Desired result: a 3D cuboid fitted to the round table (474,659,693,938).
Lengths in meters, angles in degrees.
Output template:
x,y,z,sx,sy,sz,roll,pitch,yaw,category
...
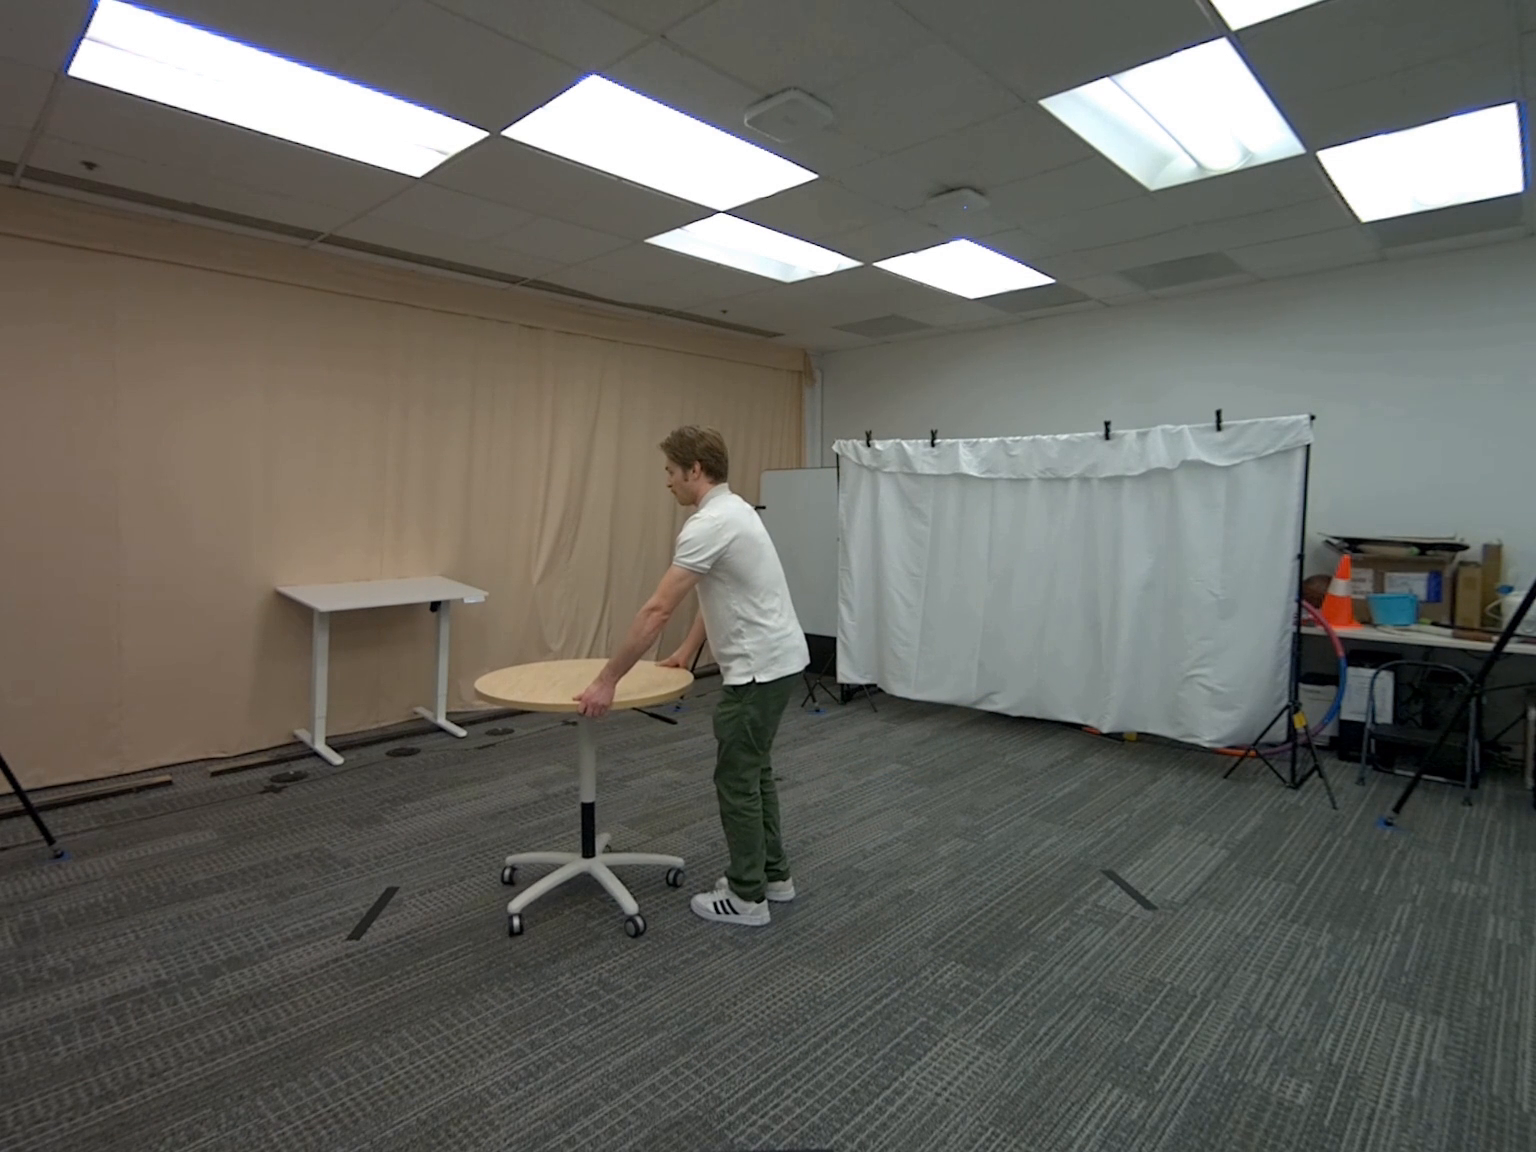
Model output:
x,y,z,sx,sy,sz,roll,pitch,yaw,category
-0.642,0.760,3.009,0.763,0.792,0.766,0,3,-2,round table
